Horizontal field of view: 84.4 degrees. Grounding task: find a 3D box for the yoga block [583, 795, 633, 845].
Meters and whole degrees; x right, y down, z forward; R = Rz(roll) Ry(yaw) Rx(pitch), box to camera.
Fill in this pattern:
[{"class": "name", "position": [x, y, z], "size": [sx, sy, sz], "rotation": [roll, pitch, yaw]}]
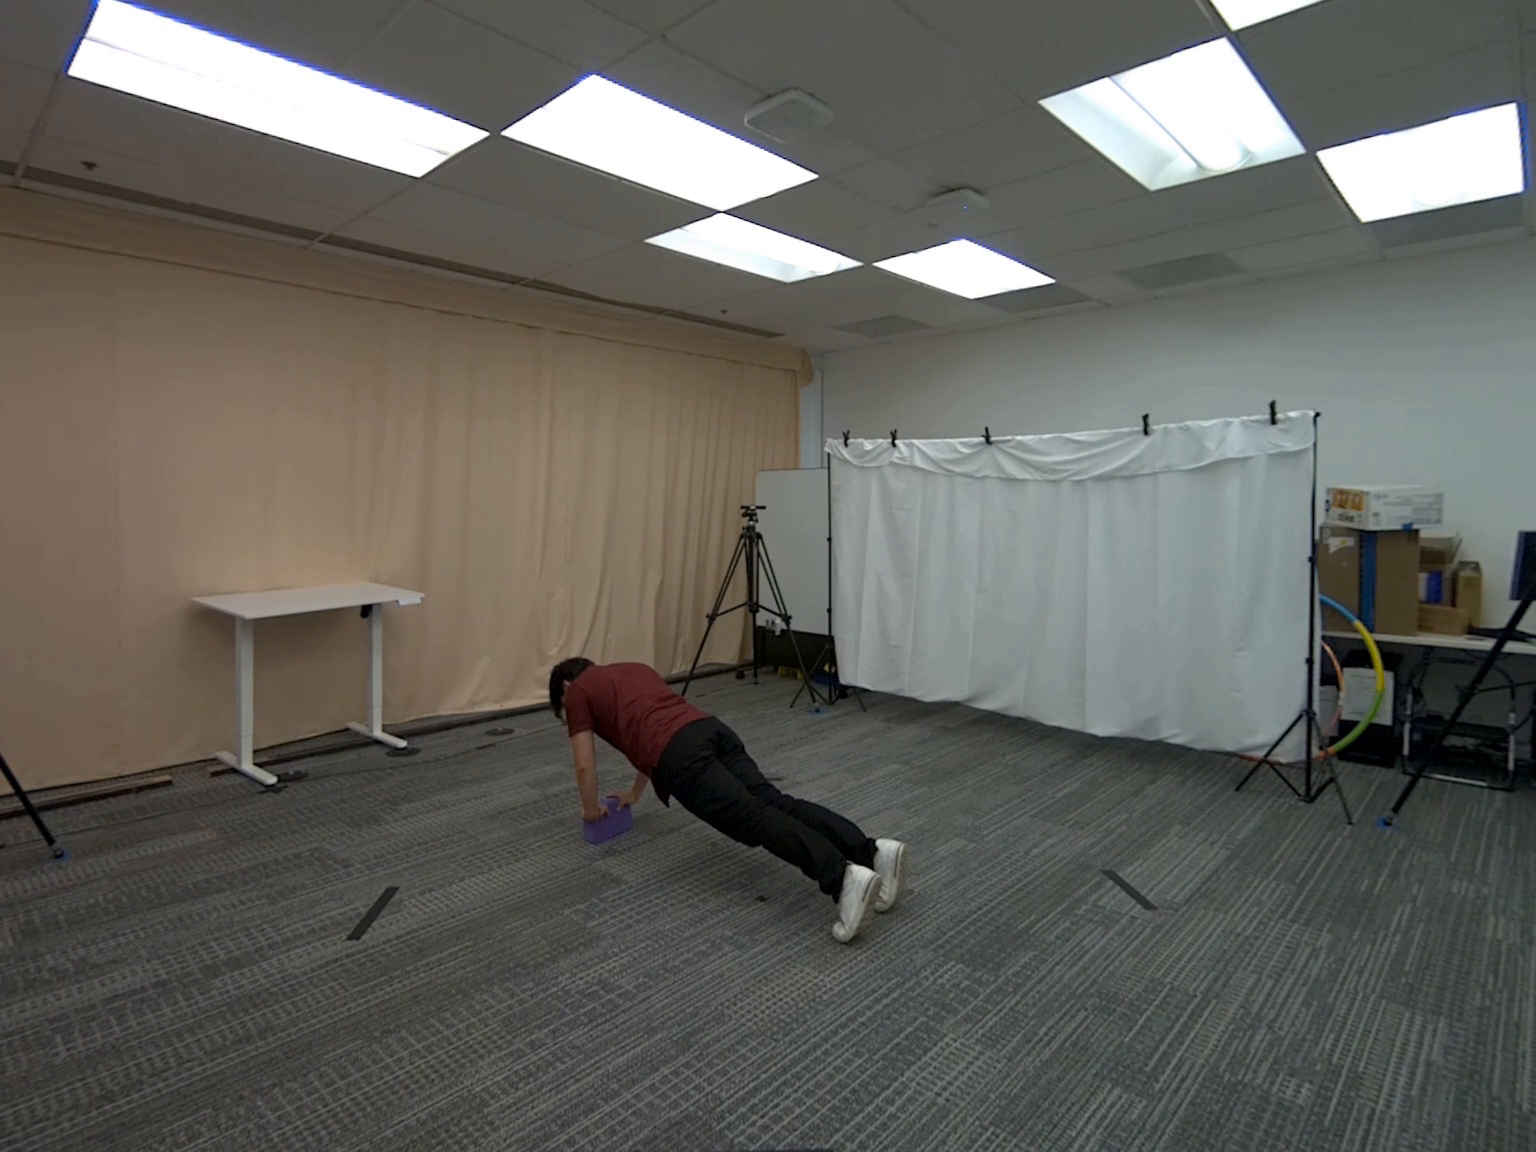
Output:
[{"class": "yoga block", "position": [-0.684, 1.033, 3.580], "size": [0.079, 0.149, 0.223], "rotation": [-3, 2, 35]}]
